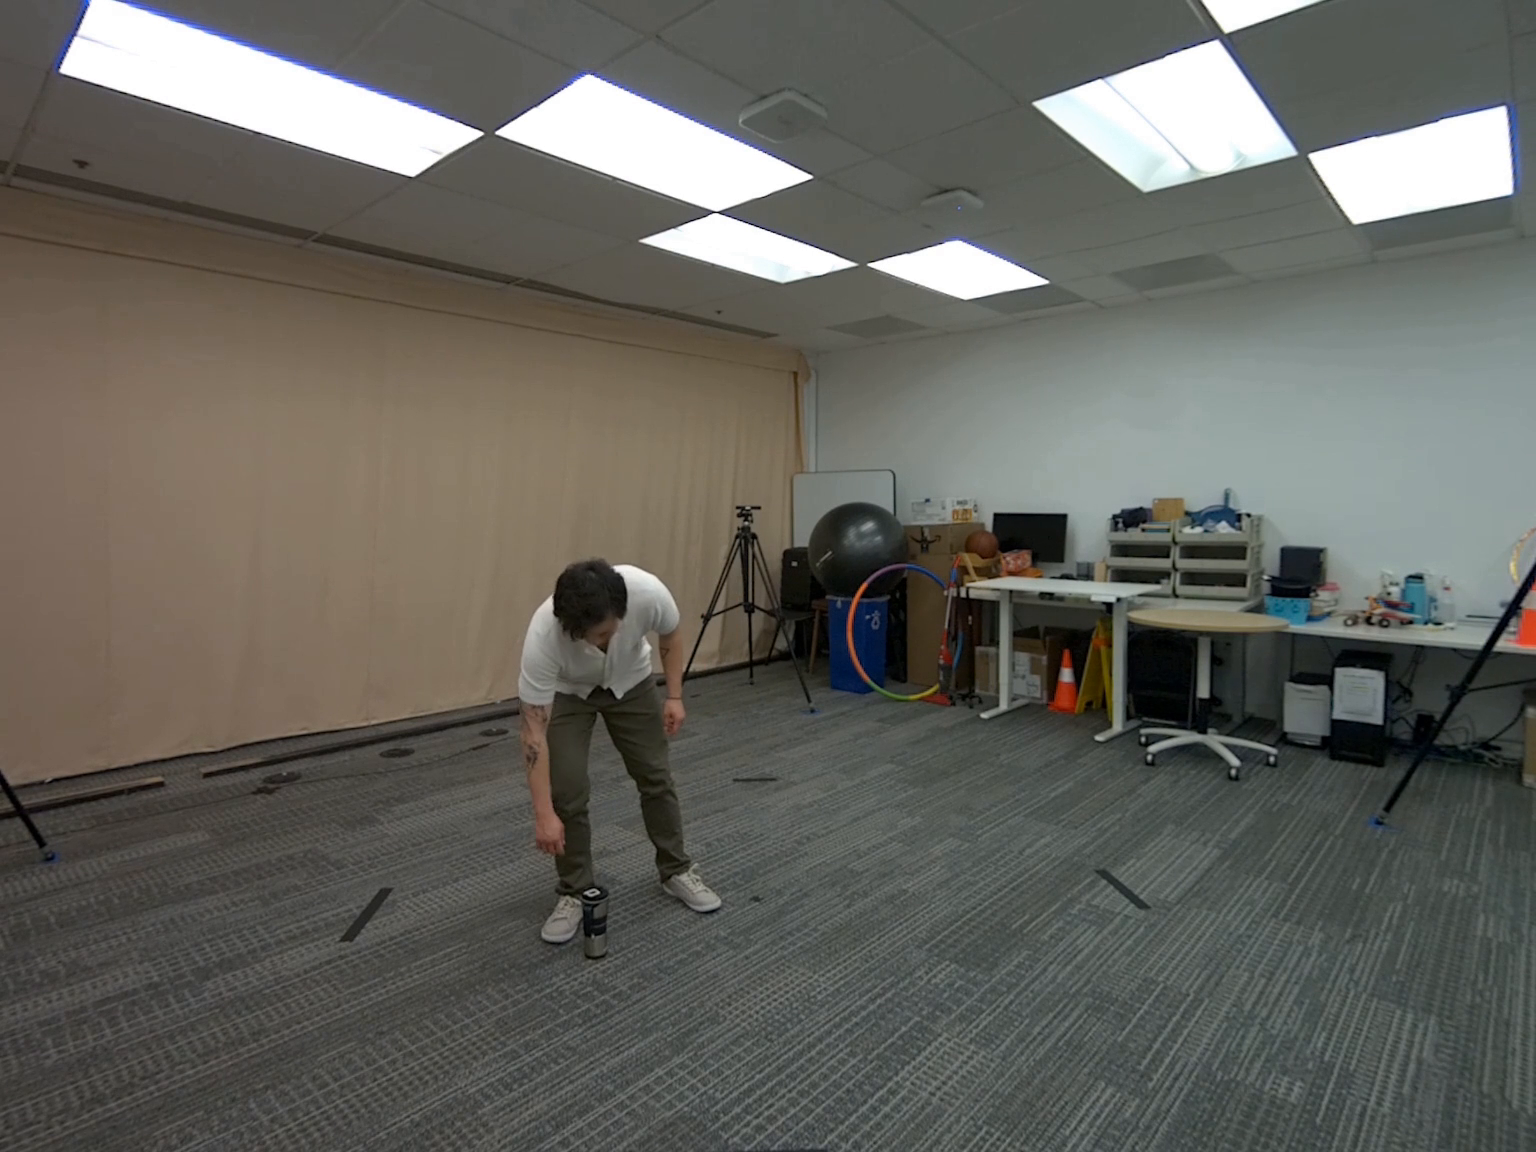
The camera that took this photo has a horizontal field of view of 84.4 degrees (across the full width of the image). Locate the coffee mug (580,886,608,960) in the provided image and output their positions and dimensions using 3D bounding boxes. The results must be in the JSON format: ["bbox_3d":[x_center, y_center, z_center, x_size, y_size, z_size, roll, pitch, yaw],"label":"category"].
[{"bbox_3d":[-0.550,1.083,2.590,0.090,0.203,0.118,4,3,33],"label":"coffee mug"}]
